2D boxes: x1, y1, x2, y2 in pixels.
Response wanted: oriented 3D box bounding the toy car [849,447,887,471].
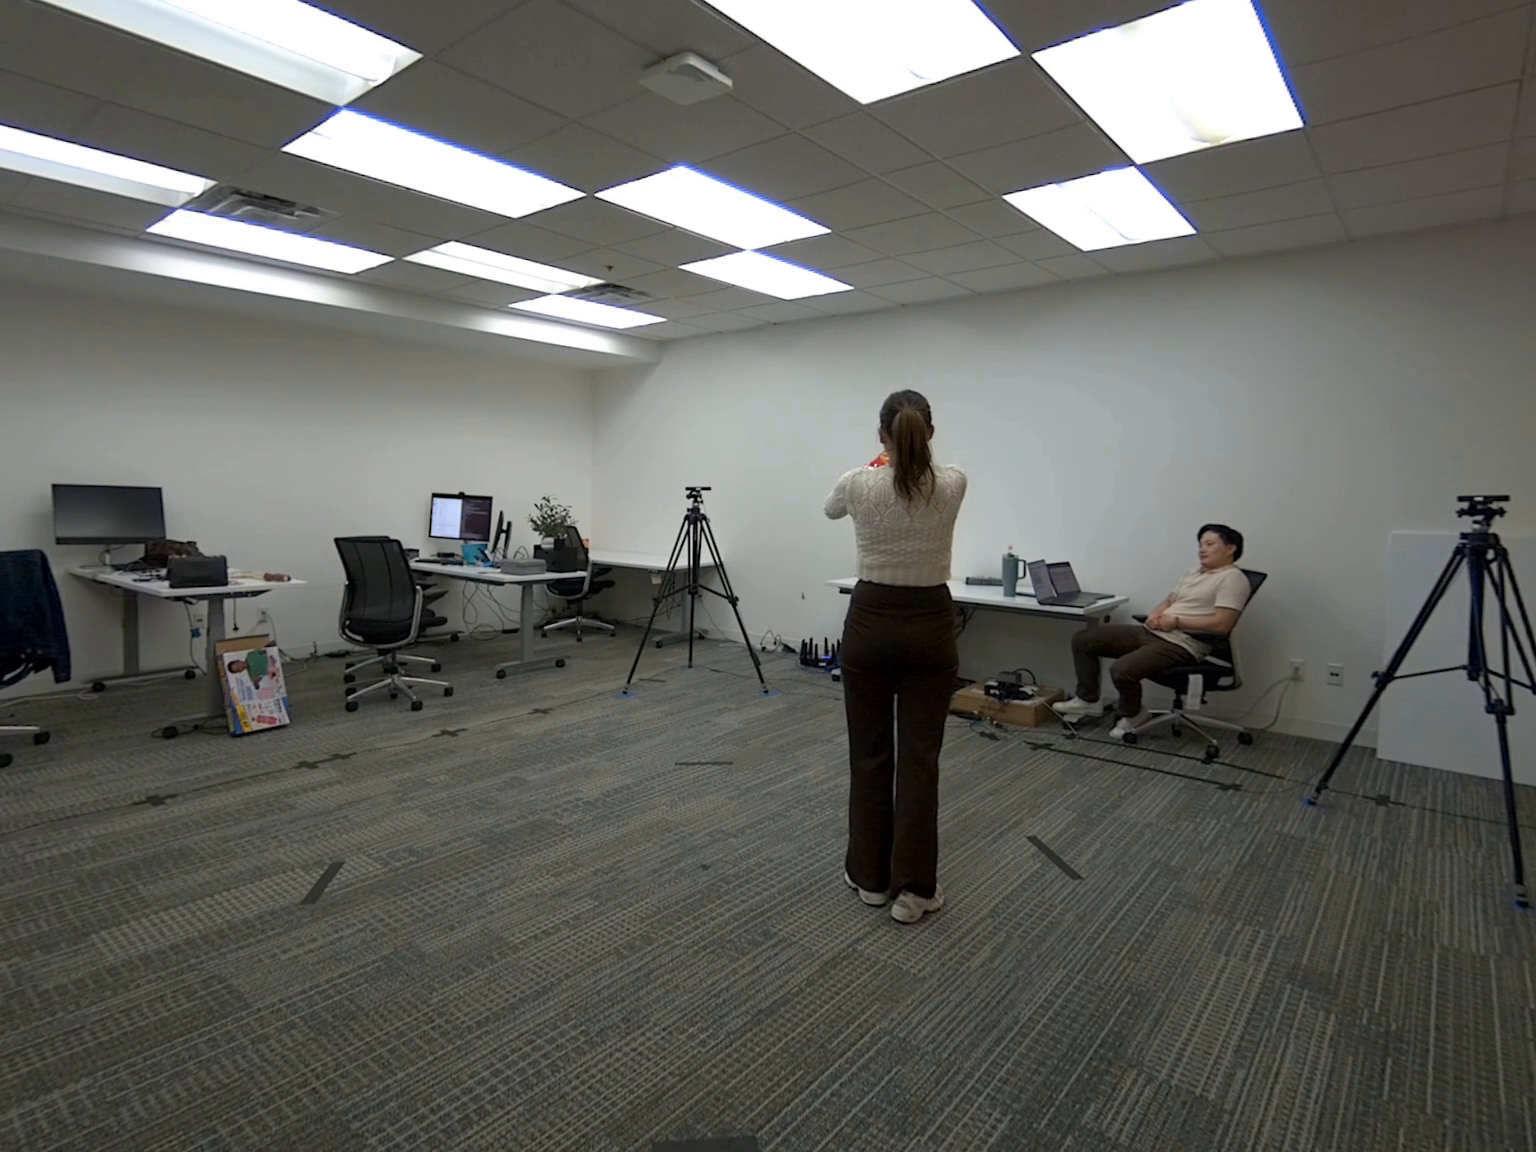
[{"bbox_3d":[0.455,-0.441,3.426,0.135,0.081,0.251,22,35,34],"label":"toy car"}]
